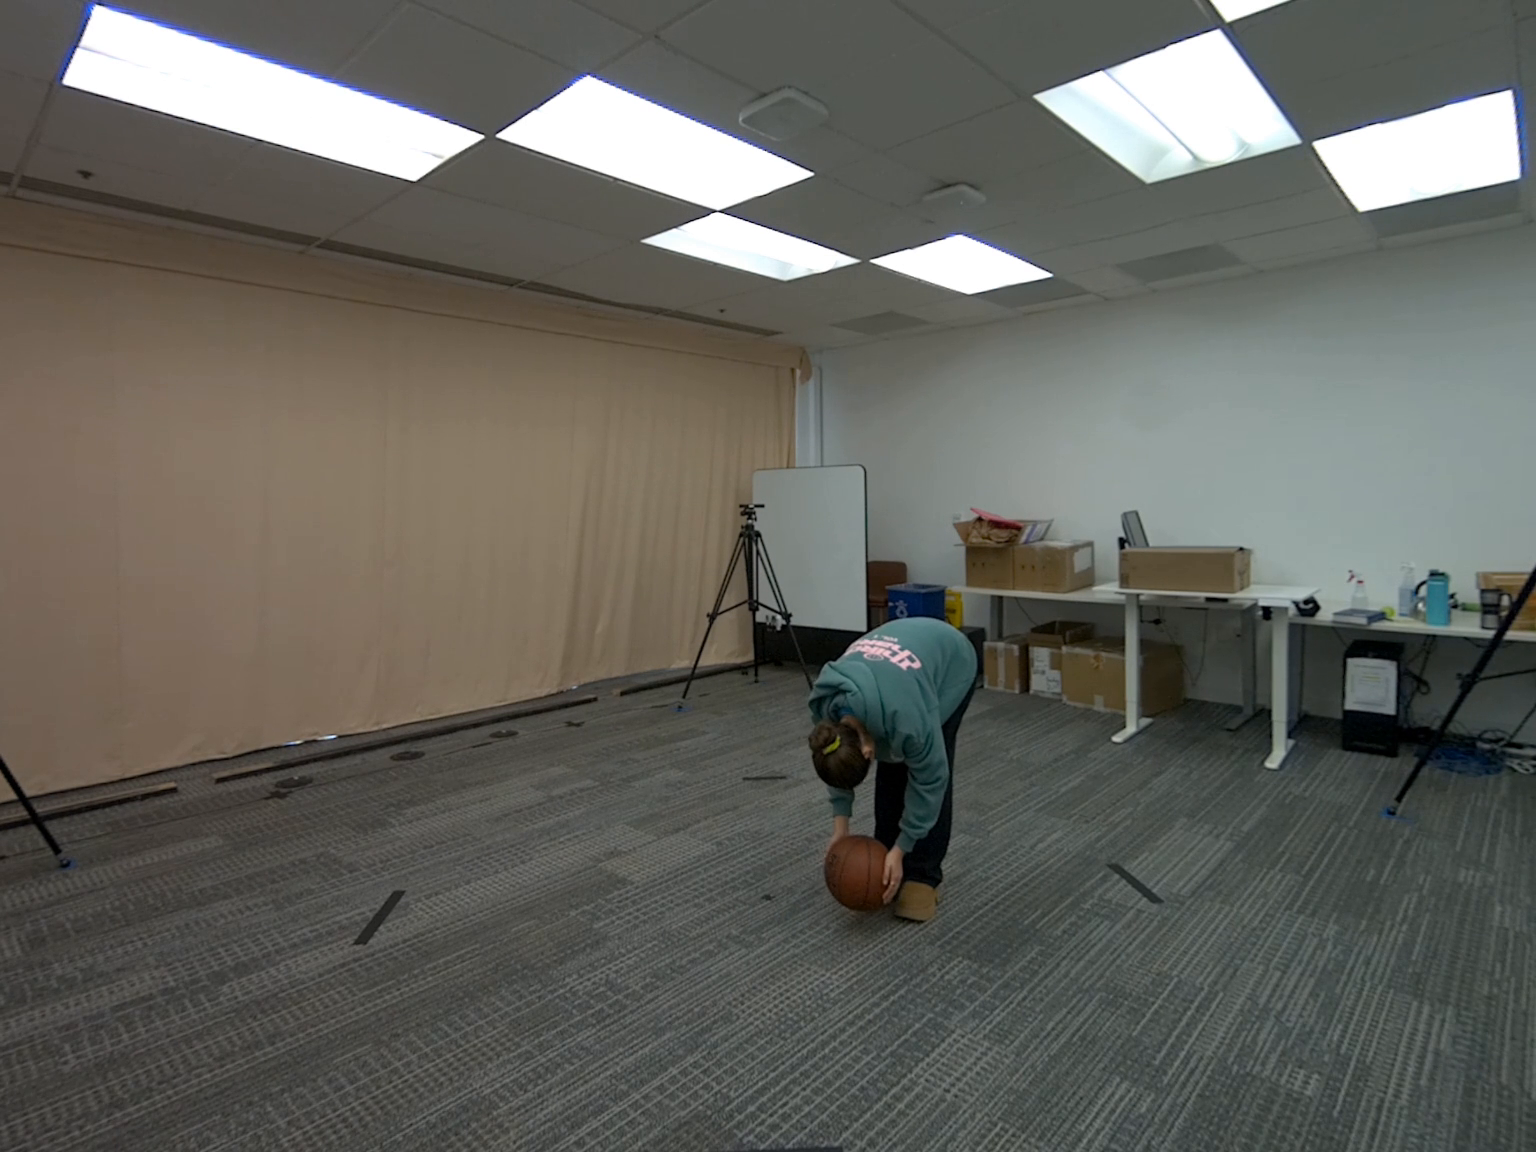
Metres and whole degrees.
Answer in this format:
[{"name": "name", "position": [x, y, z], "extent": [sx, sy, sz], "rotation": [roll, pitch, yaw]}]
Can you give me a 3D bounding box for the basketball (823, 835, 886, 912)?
[{"name": "basketball", "position": [0.304, 0.966, 2.777], "extent": [0.236, 0.235, 0.237], "rotation": [-1, 4, -2]}]
